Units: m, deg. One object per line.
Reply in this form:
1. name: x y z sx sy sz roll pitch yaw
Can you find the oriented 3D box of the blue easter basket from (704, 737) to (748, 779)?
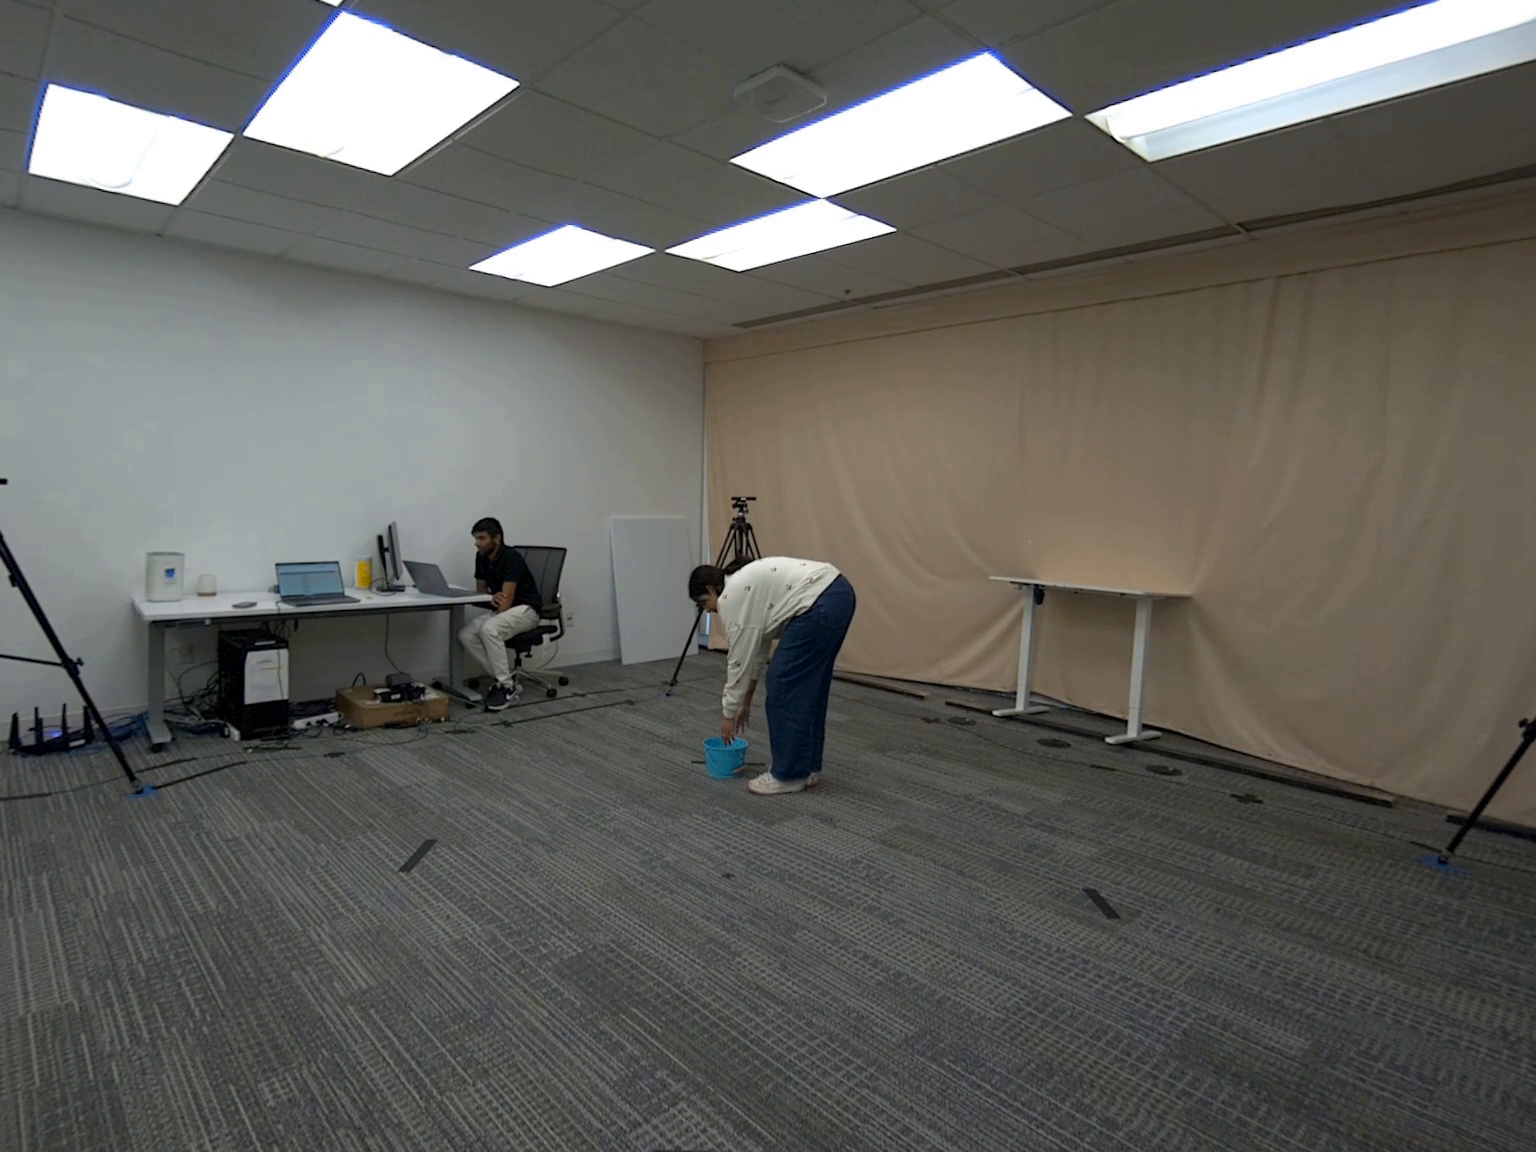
1. blue easter basket: -0.232 0.914 4.286 0.243 0.155 0.244 1 6 -1
